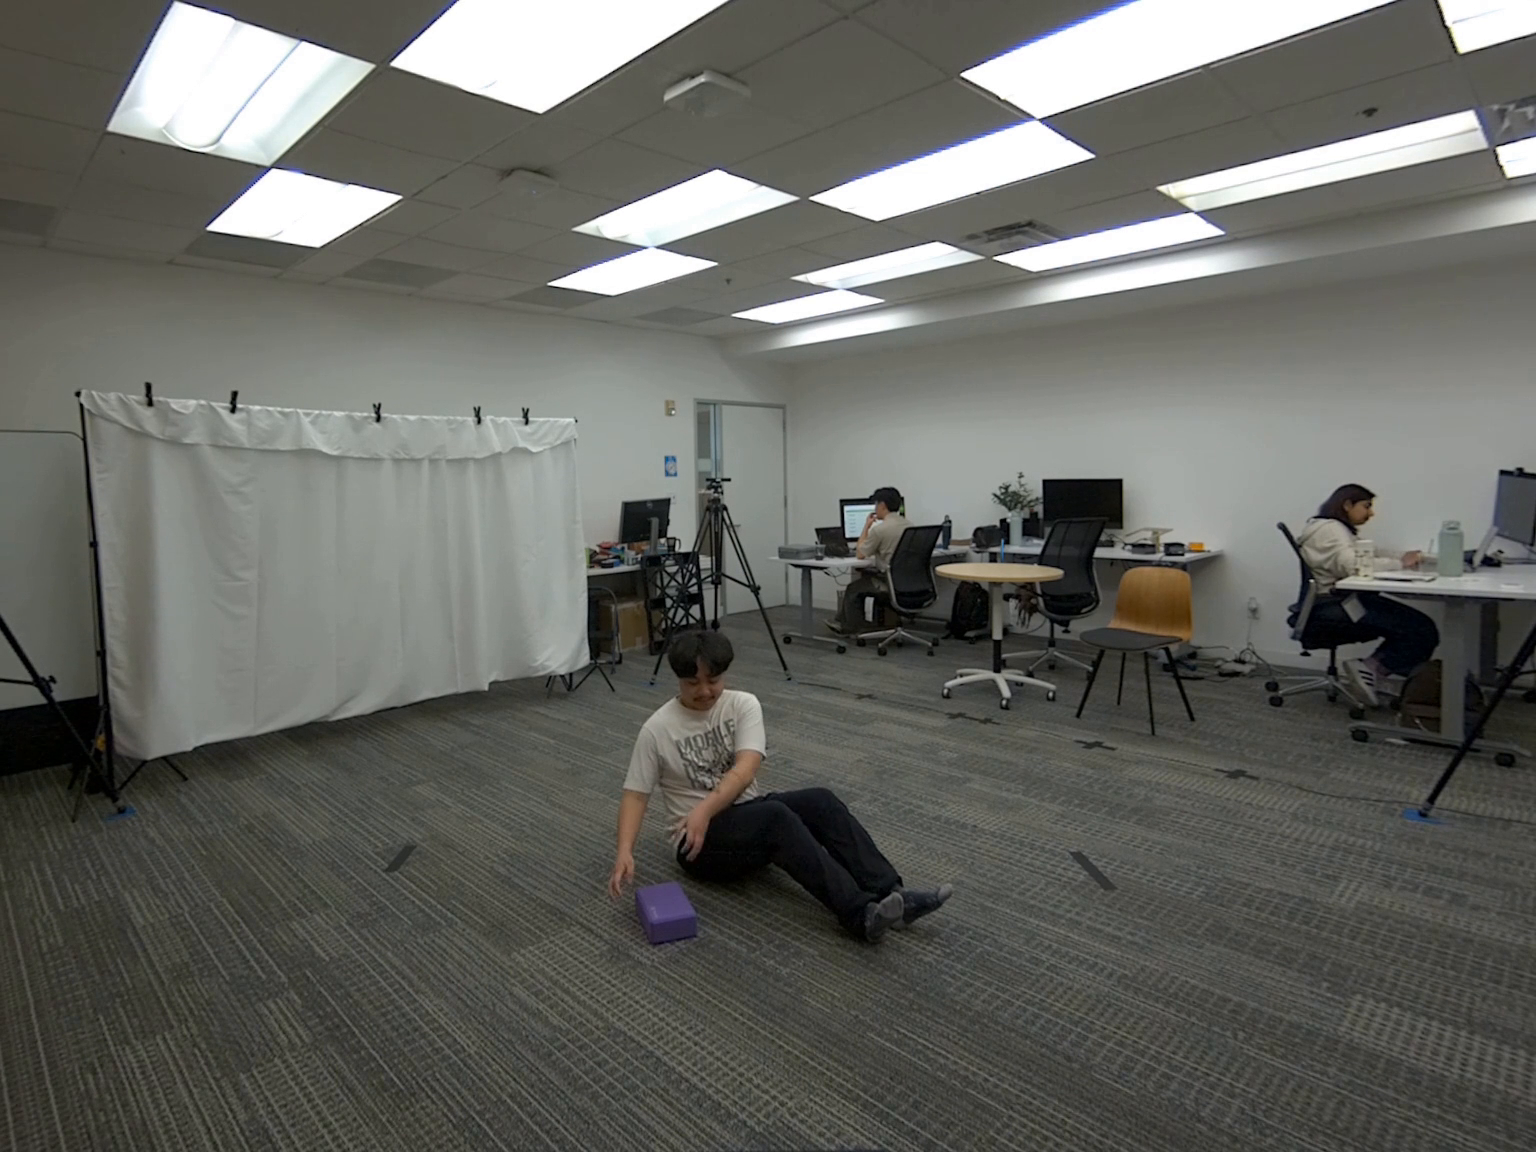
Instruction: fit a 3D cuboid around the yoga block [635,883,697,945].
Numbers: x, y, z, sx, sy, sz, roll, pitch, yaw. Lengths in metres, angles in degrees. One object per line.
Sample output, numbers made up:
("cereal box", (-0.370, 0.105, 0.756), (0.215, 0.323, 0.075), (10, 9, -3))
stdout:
("yoga block", (-0.334, 1.055, 2.697), (0.146, 0.076, 0.234), (-2, 7, -20))
